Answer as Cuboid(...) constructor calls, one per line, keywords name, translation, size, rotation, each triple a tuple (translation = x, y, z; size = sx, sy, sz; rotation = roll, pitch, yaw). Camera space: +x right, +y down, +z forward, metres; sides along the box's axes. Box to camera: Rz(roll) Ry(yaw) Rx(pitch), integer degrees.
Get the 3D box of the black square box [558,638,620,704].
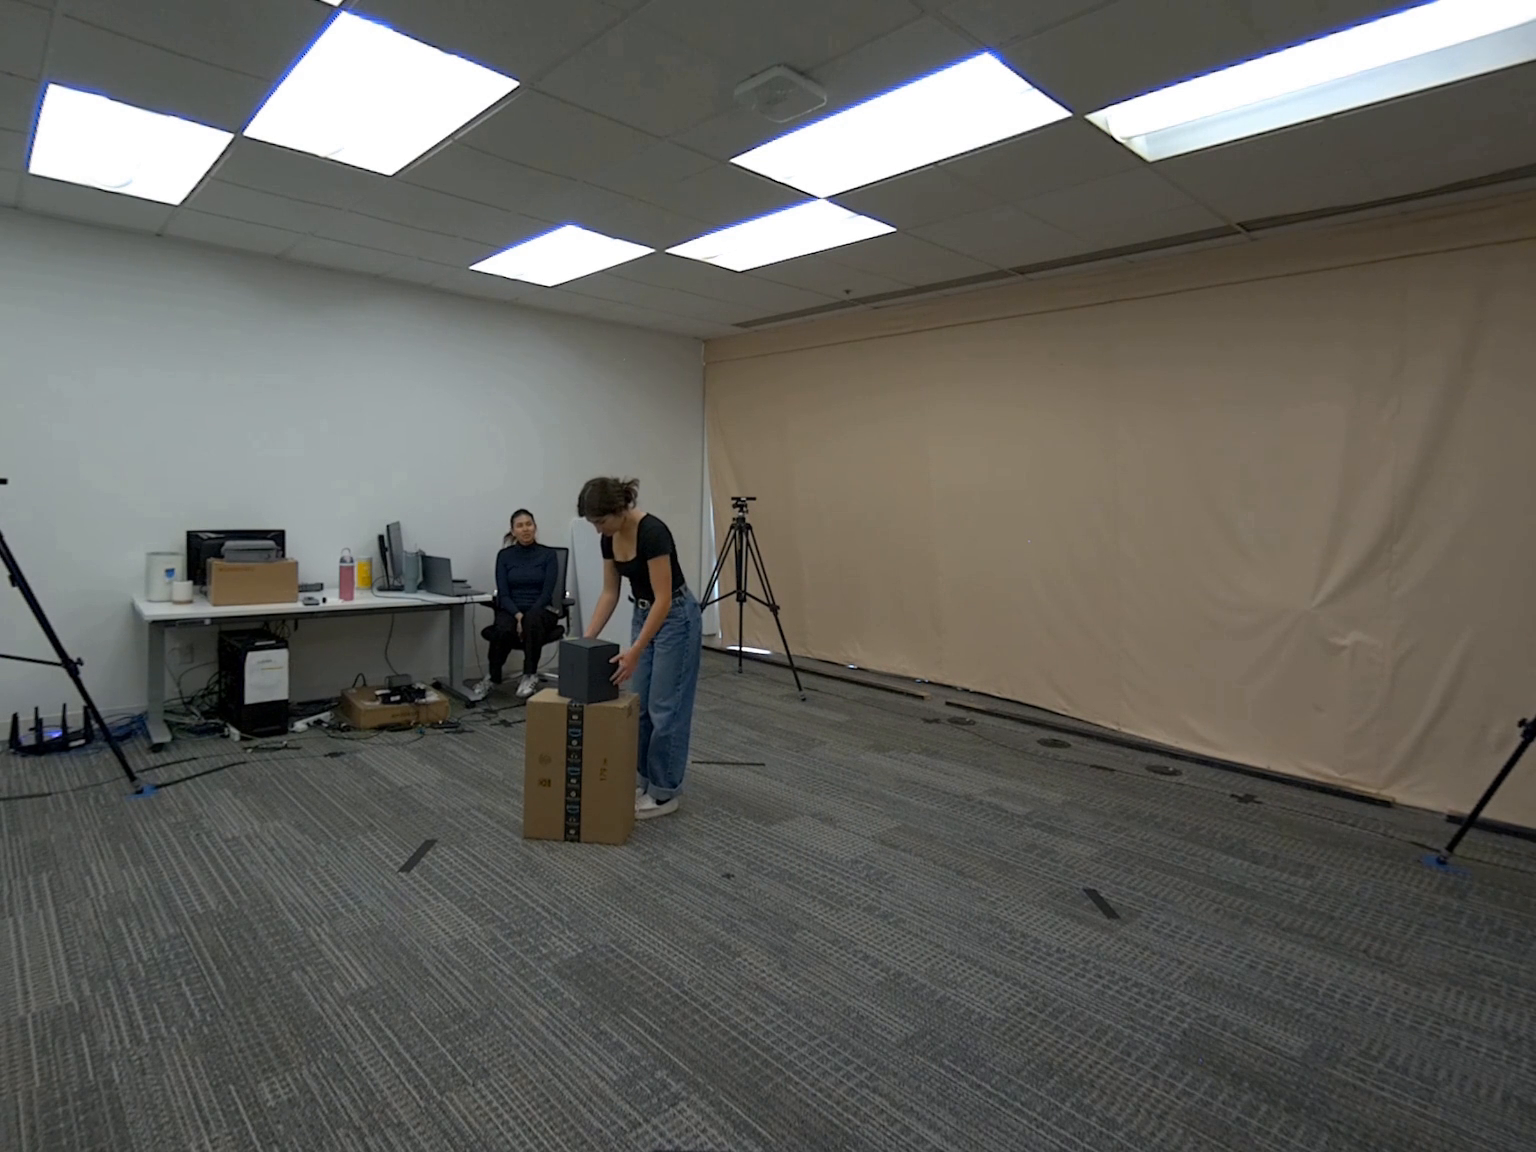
Cuboid(name="black square box", translation=(-0.746, 0.378, 3.452), size=(0.222, 0.227, 0.152), rotation=(6, 6, 44))
